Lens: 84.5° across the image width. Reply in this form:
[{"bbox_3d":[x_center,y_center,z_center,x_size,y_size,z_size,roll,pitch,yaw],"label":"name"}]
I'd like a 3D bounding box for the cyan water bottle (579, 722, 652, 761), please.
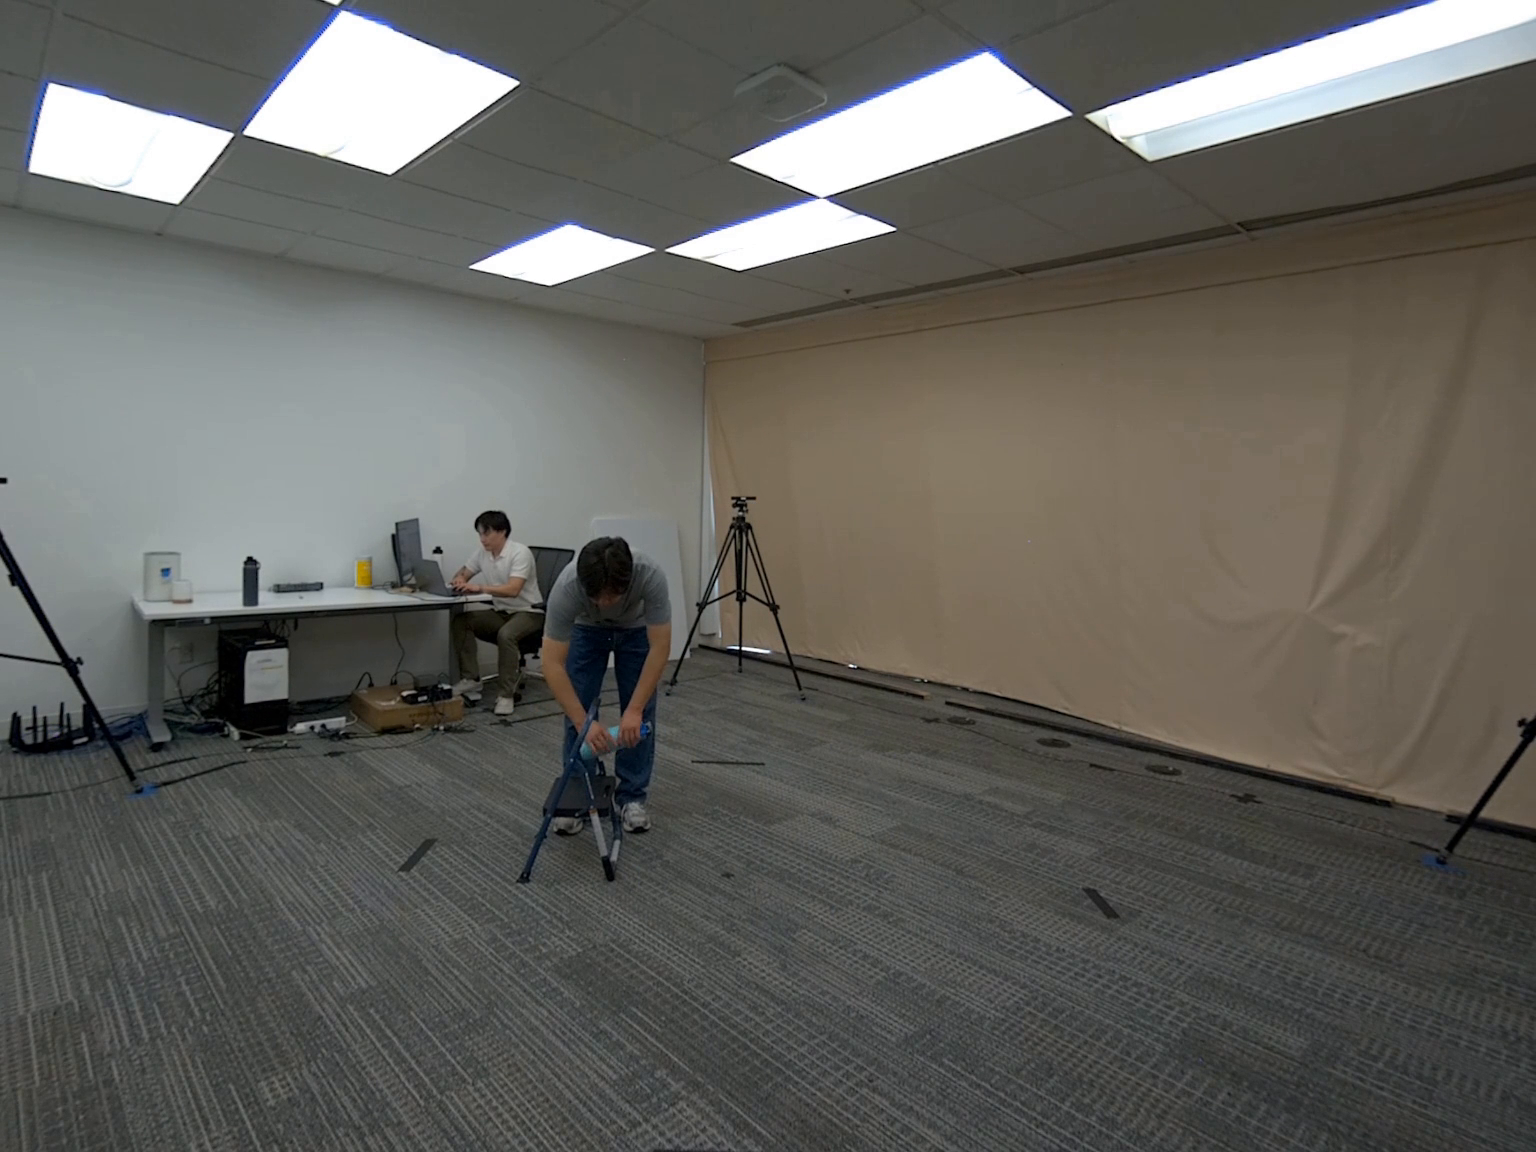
[{"bbox_3d":[-0.581,0.628,3.268,0.282,0.092,0.093,-15,7,-8],"label":"cyan water bottle"}]
